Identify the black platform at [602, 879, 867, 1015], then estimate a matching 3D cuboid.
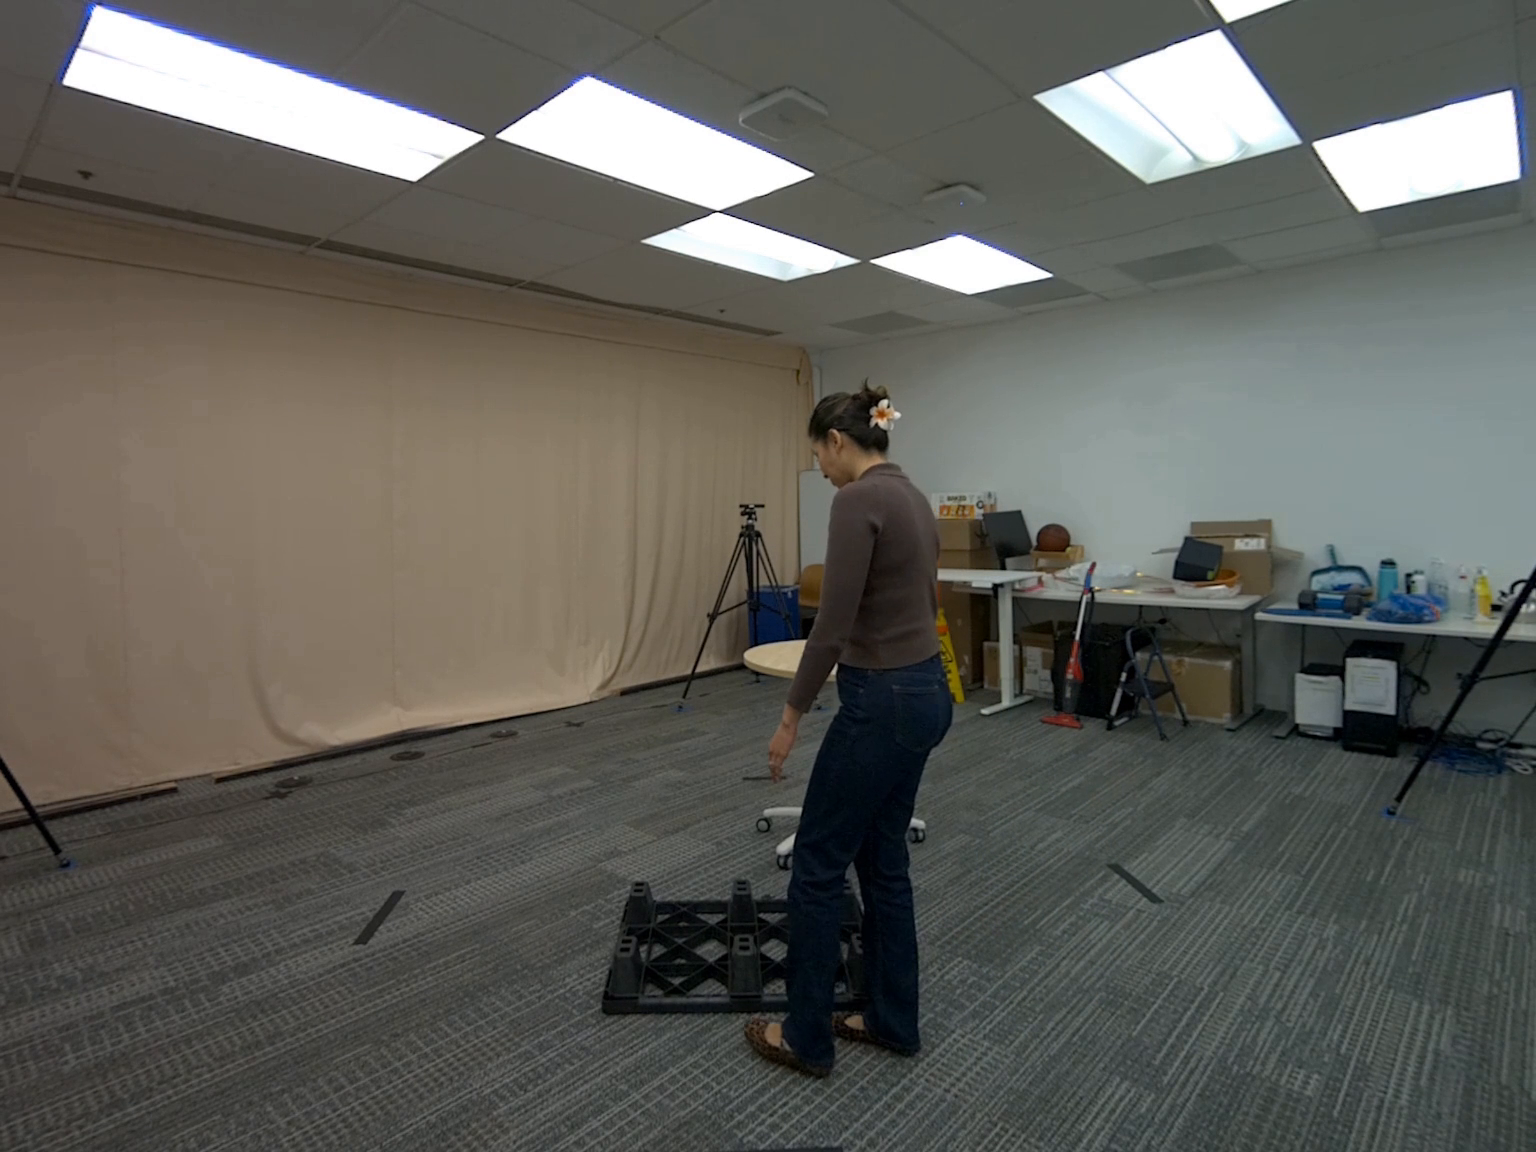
[{"bbox_3d":[-0.077,1.107,2.596,0.805,0.143,0.607,-1,4,-1],"label":"black platform"}]
